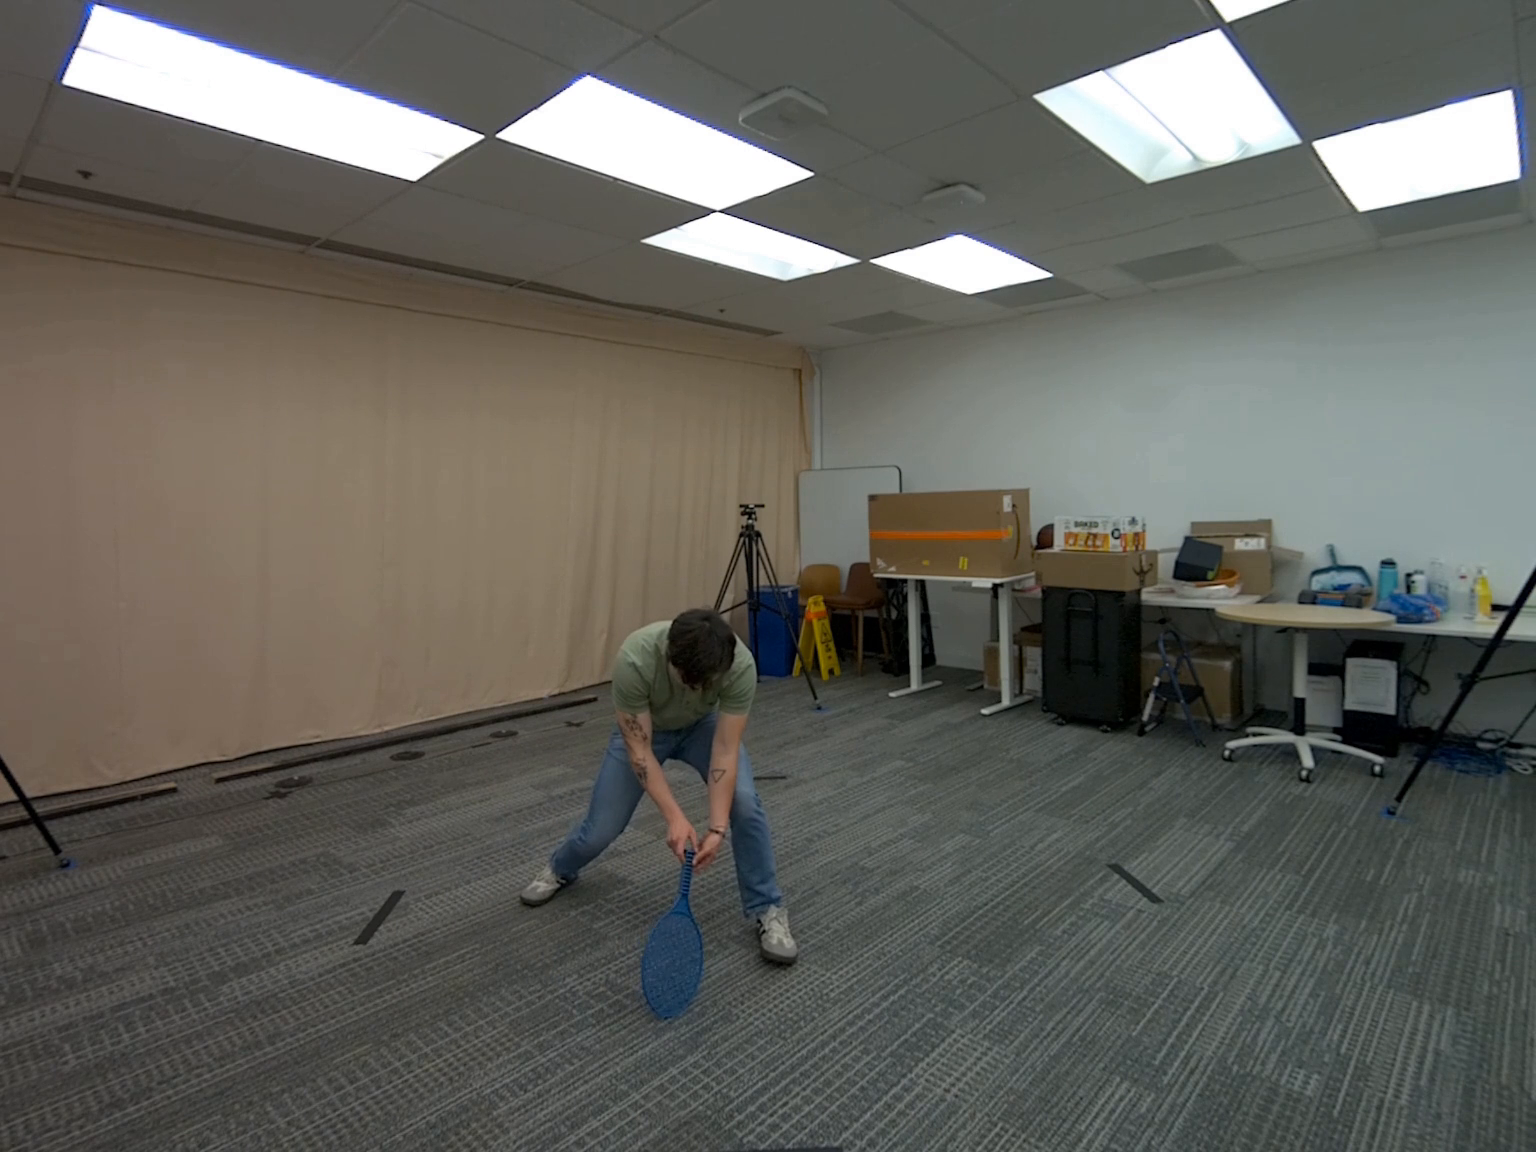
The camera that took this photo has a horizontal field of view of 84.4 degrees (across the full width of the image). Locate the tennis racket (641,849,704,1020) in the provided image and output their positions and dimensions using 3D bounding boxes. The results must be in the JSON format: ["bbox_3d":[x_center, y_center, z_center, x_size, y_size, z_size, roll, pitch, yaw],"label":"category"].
[{"bbox_3d":[-0.236,1.009,2.381,0.207,0.437,0.032,35,-38,-31],"label":"tennis racket"}]
